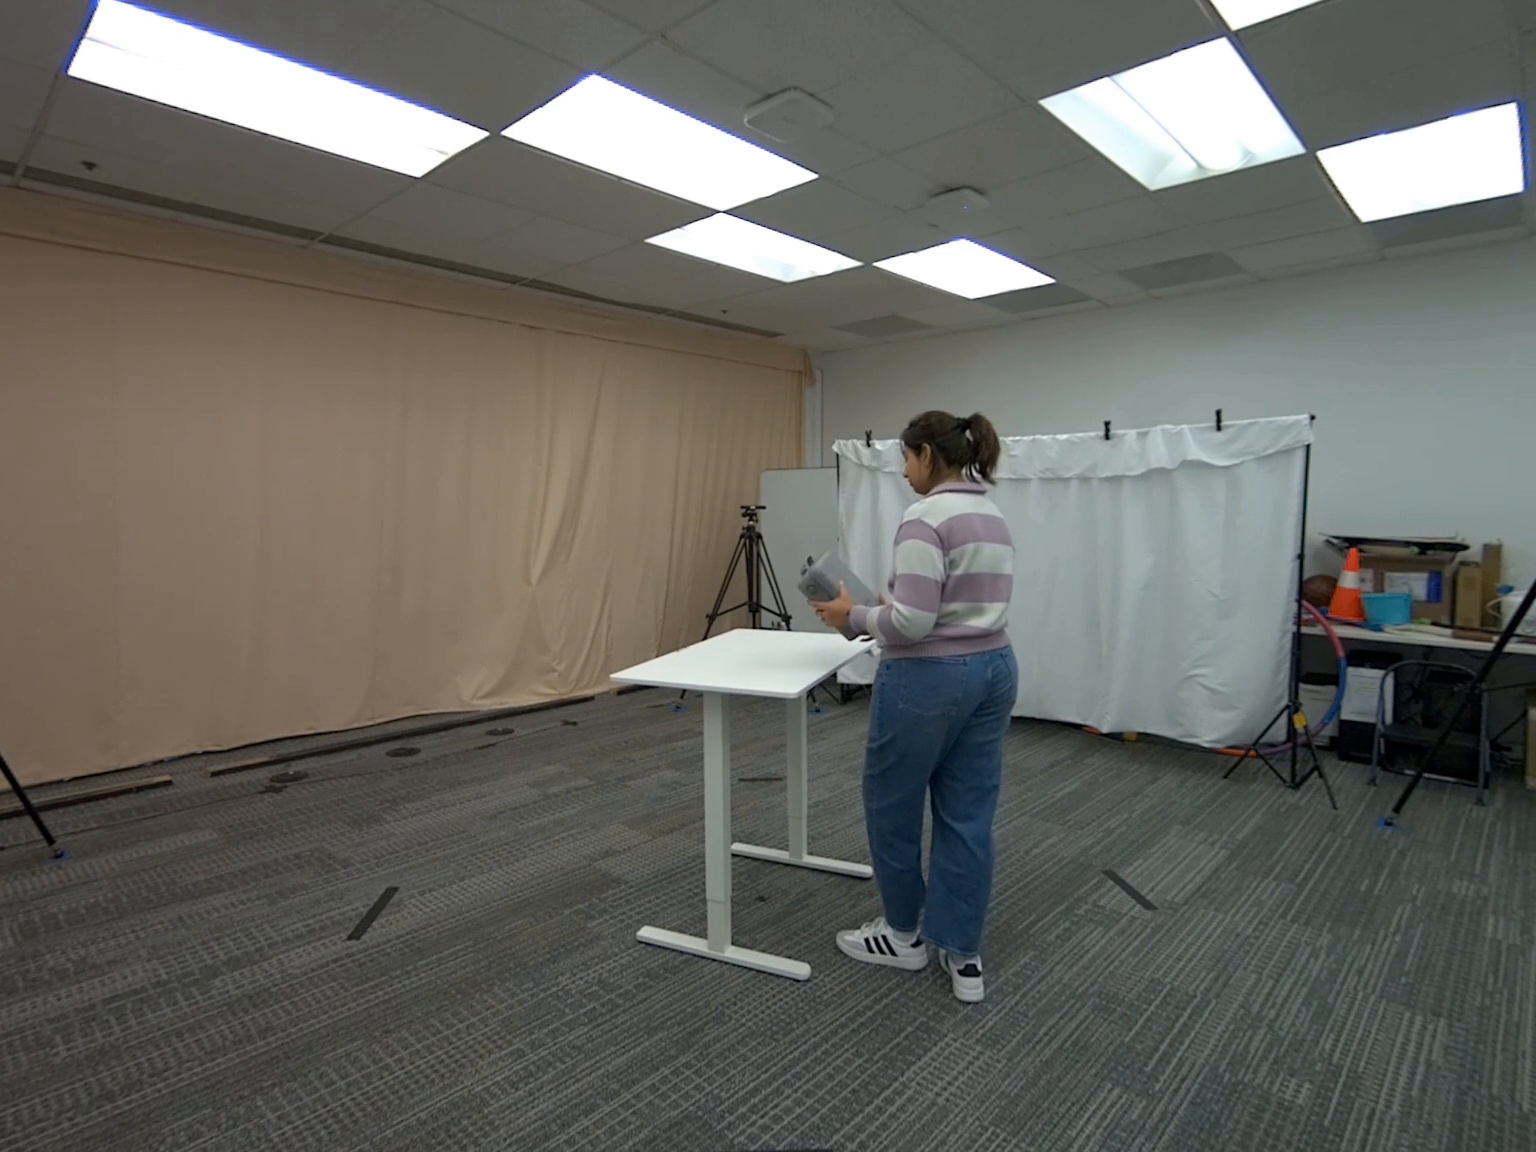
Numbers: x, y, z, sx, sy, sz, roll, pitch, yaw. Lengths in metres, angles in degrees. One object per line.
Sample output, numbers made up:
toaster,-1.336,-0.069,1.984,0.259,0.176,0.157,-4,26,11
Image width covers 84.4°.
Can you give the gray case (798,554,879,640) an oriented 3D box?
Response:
gray case,0.235,0.053,2.647,0.105,0.262,0.254,-44,-2,19
